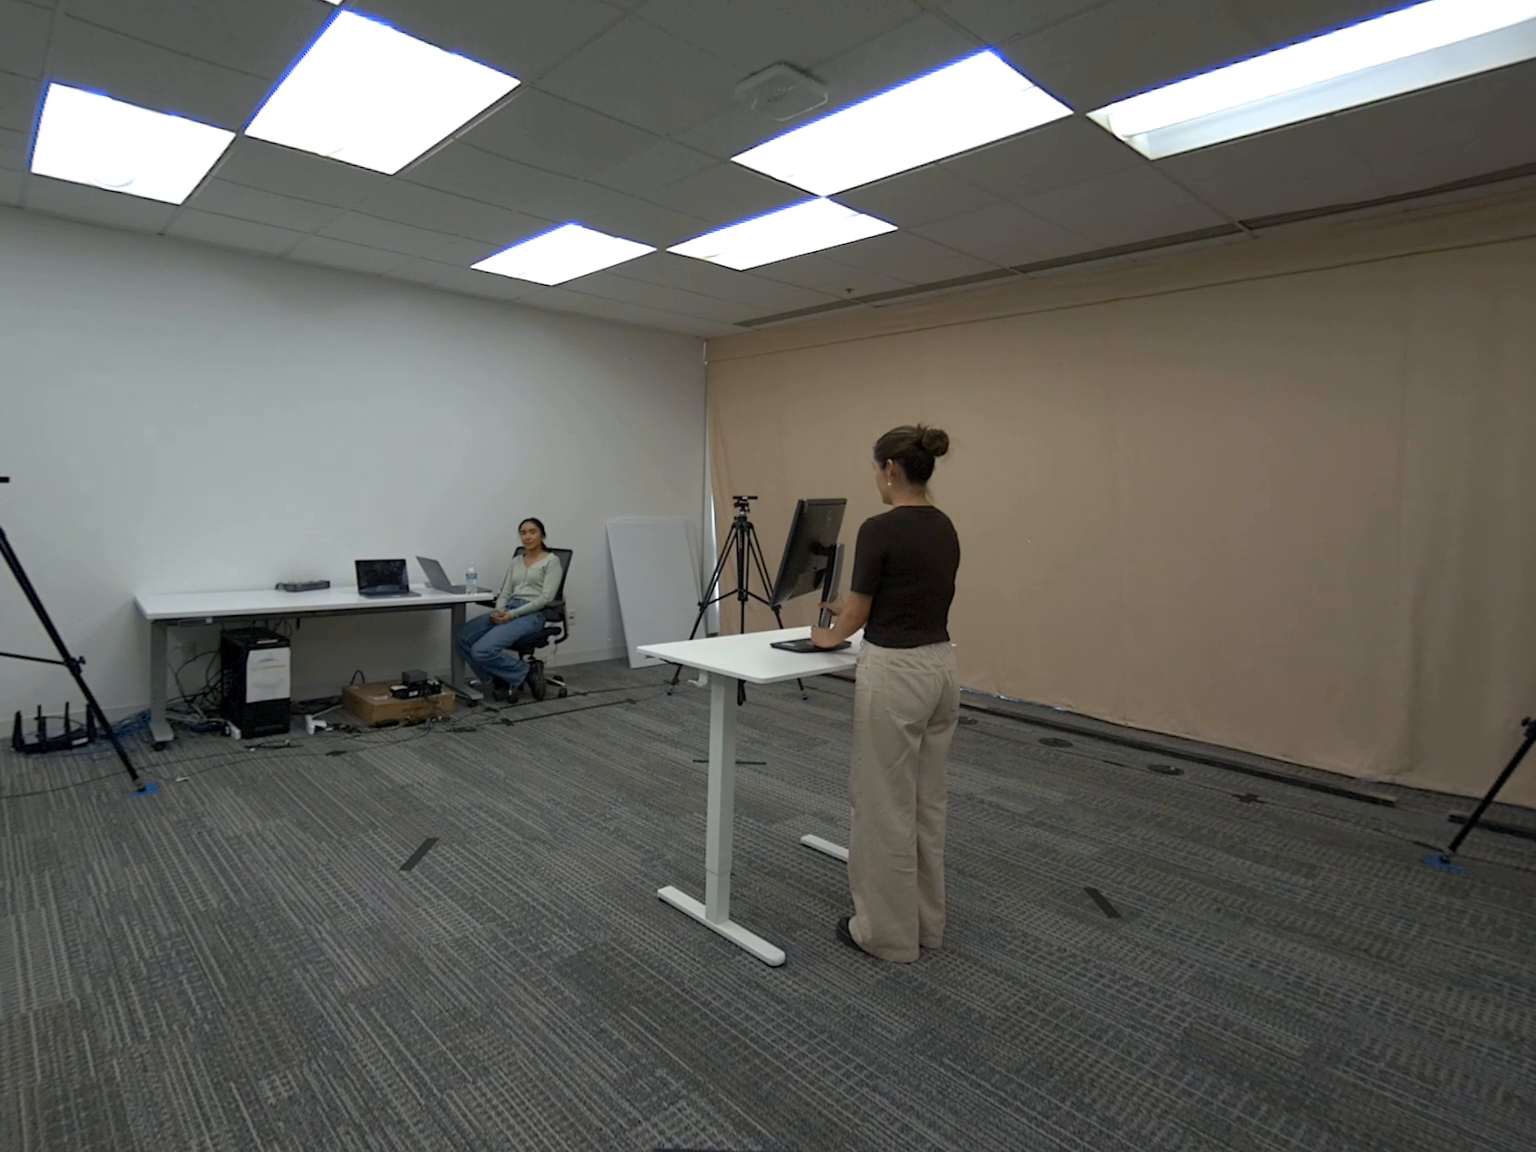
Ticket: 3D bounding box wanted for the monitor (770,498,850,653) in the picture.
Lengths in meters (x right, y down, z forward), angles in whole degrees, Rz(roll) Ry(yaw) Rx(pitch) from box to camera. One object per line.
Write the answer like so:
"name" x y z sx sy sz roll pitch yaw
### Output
"monitor" 0.163 -0.006 2.888 0.190 0.520 0.533 4 6 18
